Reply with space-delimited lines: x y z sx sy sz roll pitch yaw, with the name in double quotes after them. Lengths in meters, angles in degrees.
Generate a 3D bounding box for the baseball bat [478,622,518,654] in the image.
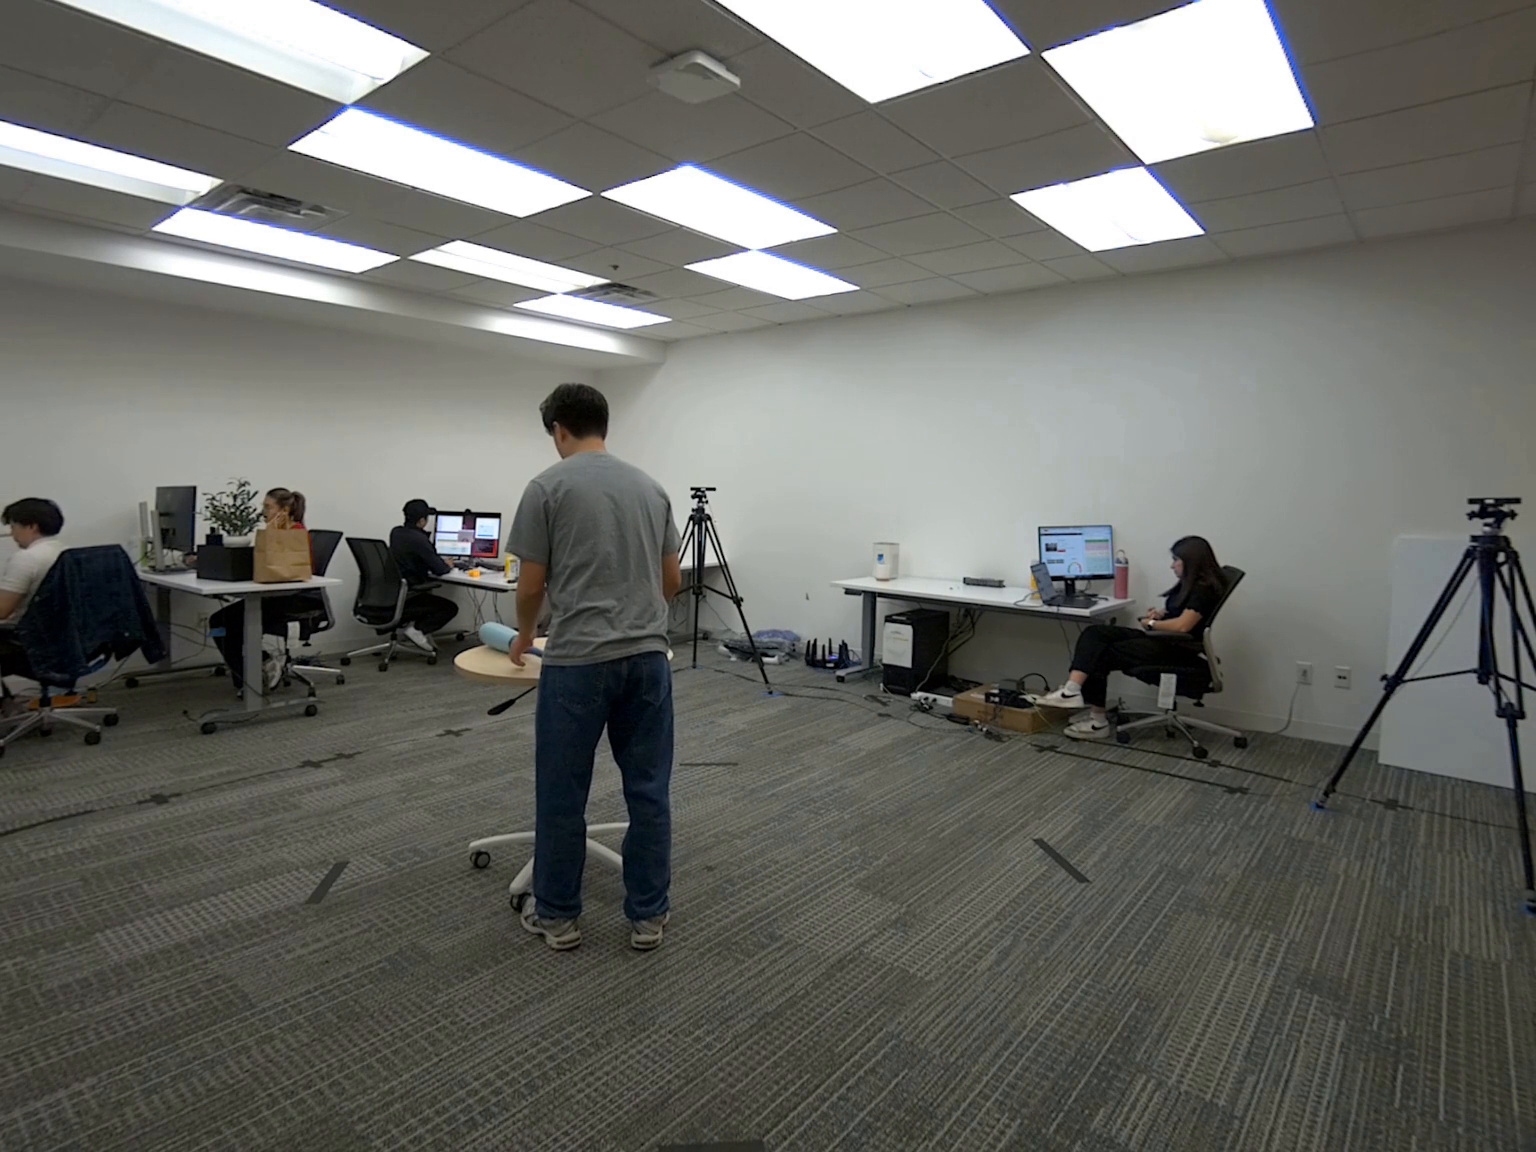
-0.891 0.250 3.013 0.086 0.088 0.563 -3 9 -41 "baseball bat"
